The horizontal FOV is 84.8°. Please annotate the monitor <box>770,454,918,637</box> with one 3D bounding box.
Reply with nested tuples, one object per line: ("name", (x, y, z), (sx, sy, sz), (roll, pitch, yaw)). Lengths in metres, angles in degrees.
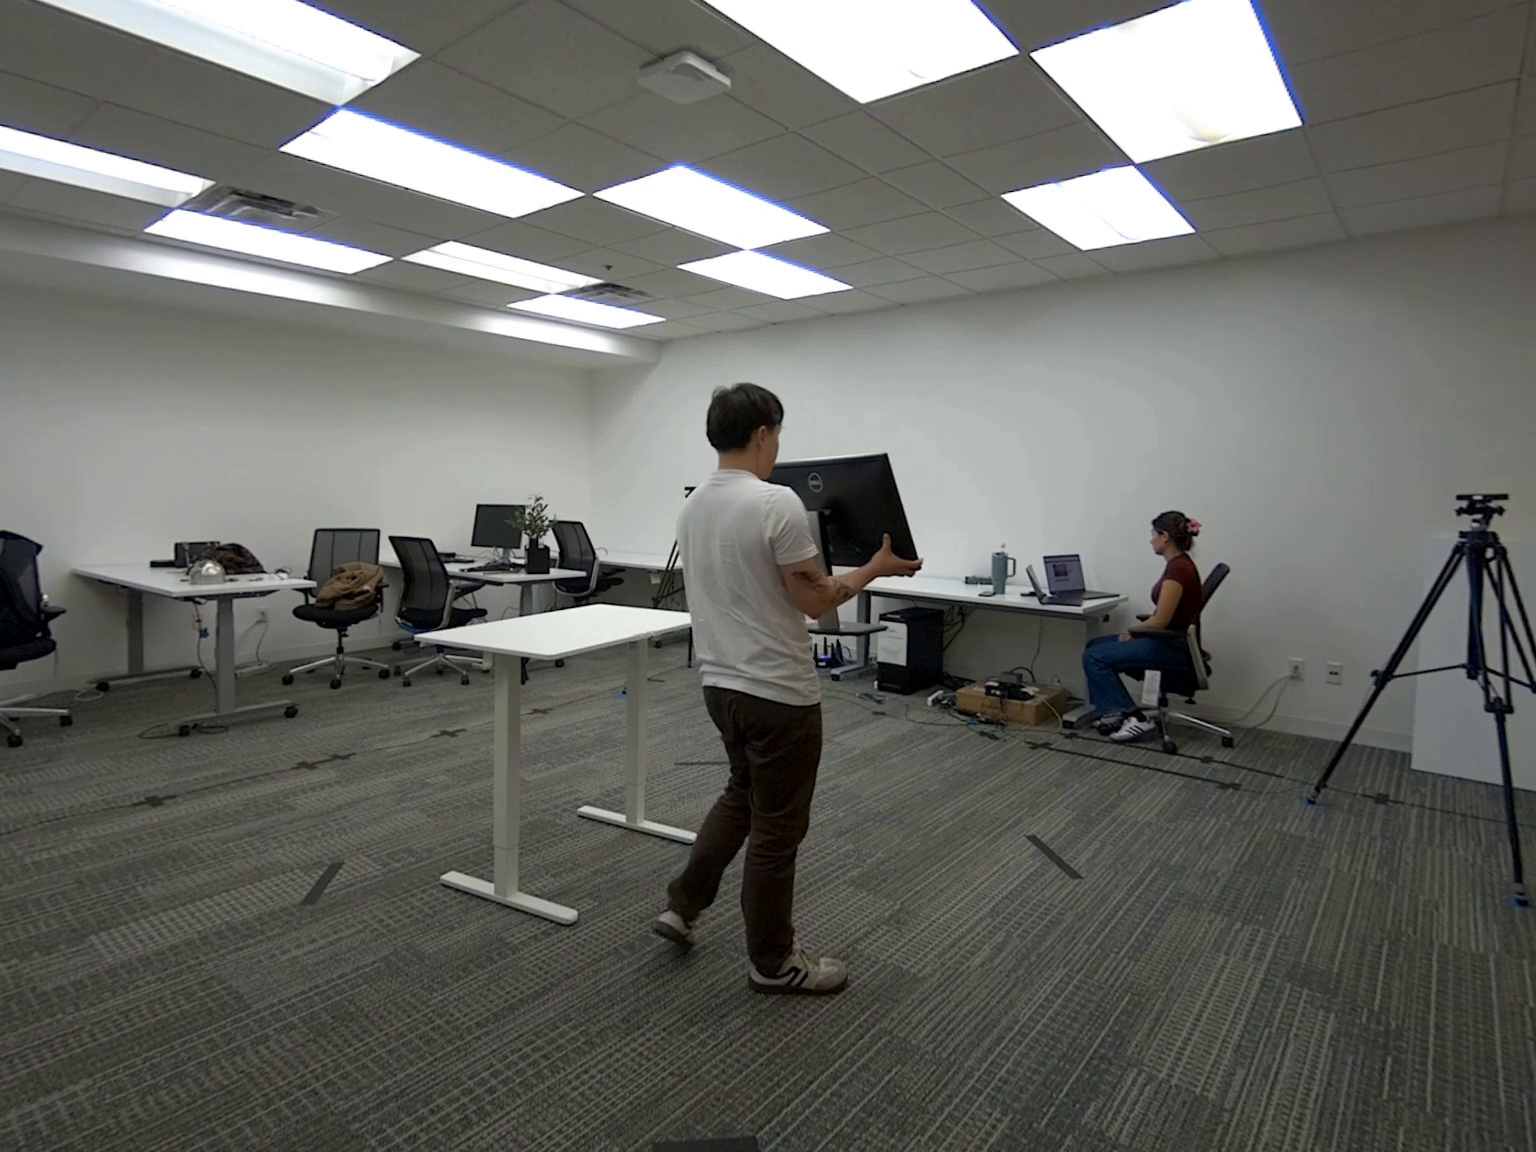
("monitor", (0.168, -0.092, 2.539), (0.182, 0.518, 0.556), (-13, 10, -40))
